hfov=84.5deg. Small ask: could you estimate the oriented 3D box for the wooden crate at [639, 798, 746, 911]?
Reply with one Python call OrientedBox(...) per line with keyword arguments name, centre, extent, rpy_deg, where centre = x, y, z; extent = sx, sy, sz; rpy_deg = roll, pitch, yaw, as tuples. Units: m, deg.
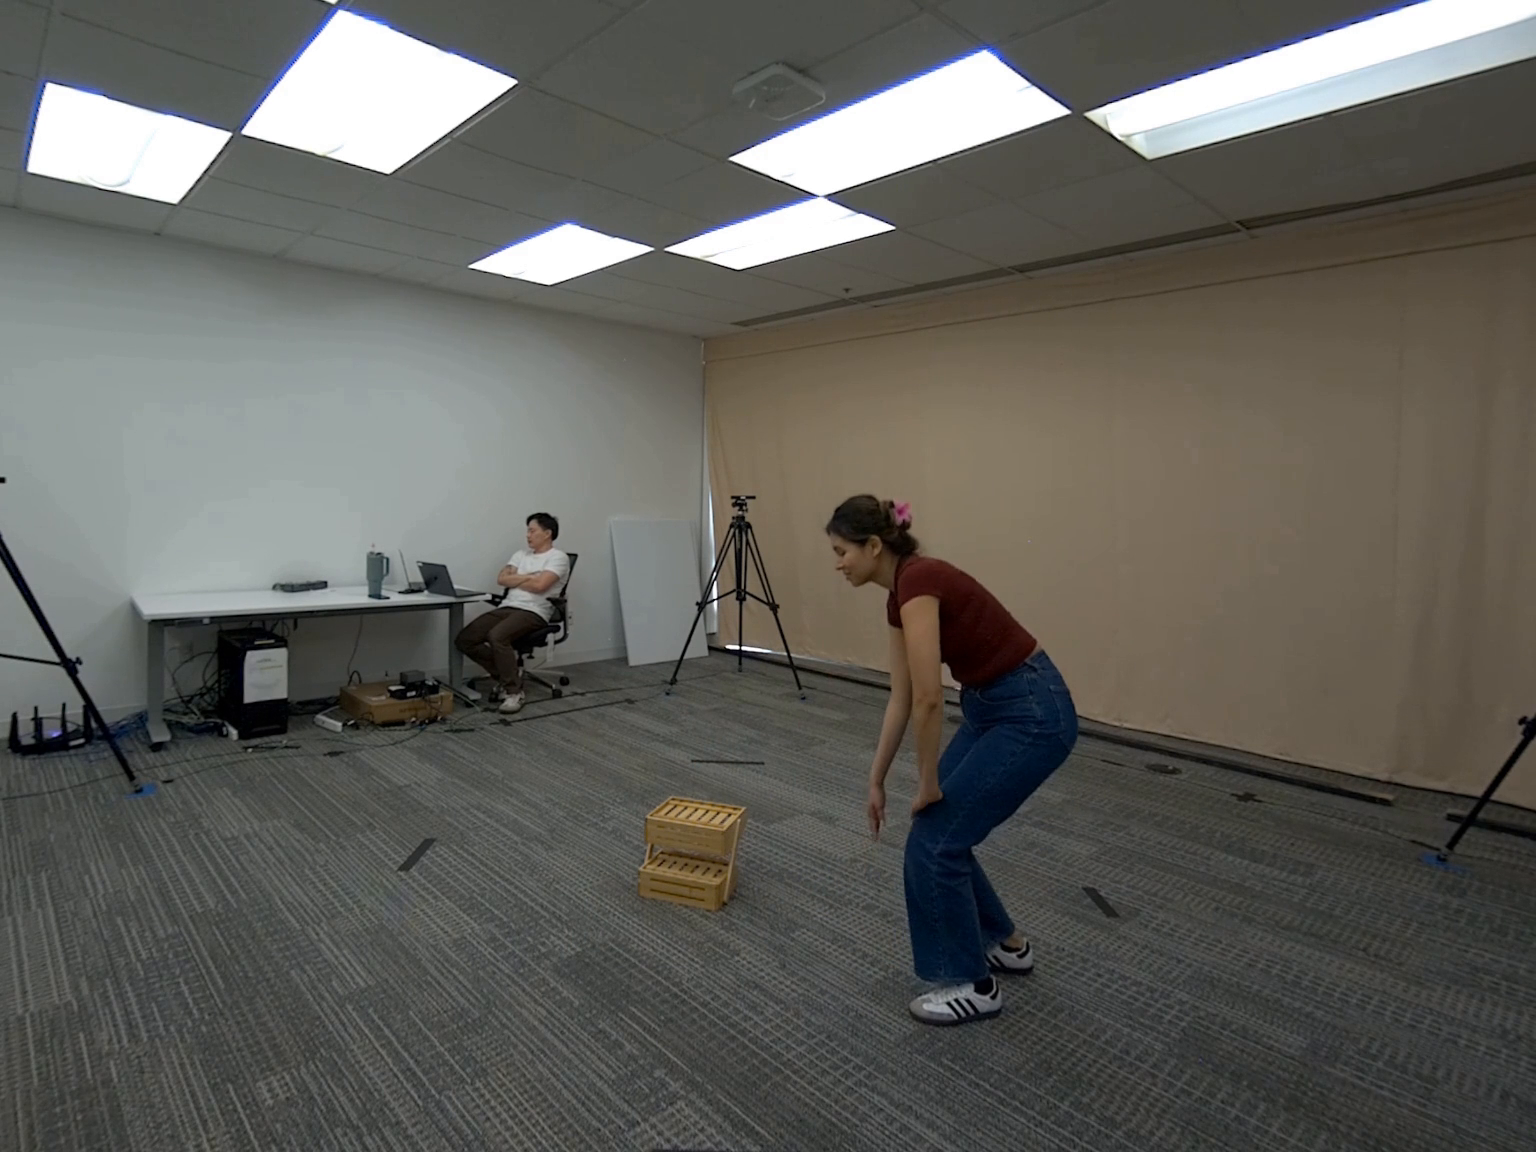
OrientedBox(name="wooden crate", centre=(-0.271, 0.980, 3.005), extent=(0.329, 0.273, 0.298), rpy_deg=(3, 4, 19))
